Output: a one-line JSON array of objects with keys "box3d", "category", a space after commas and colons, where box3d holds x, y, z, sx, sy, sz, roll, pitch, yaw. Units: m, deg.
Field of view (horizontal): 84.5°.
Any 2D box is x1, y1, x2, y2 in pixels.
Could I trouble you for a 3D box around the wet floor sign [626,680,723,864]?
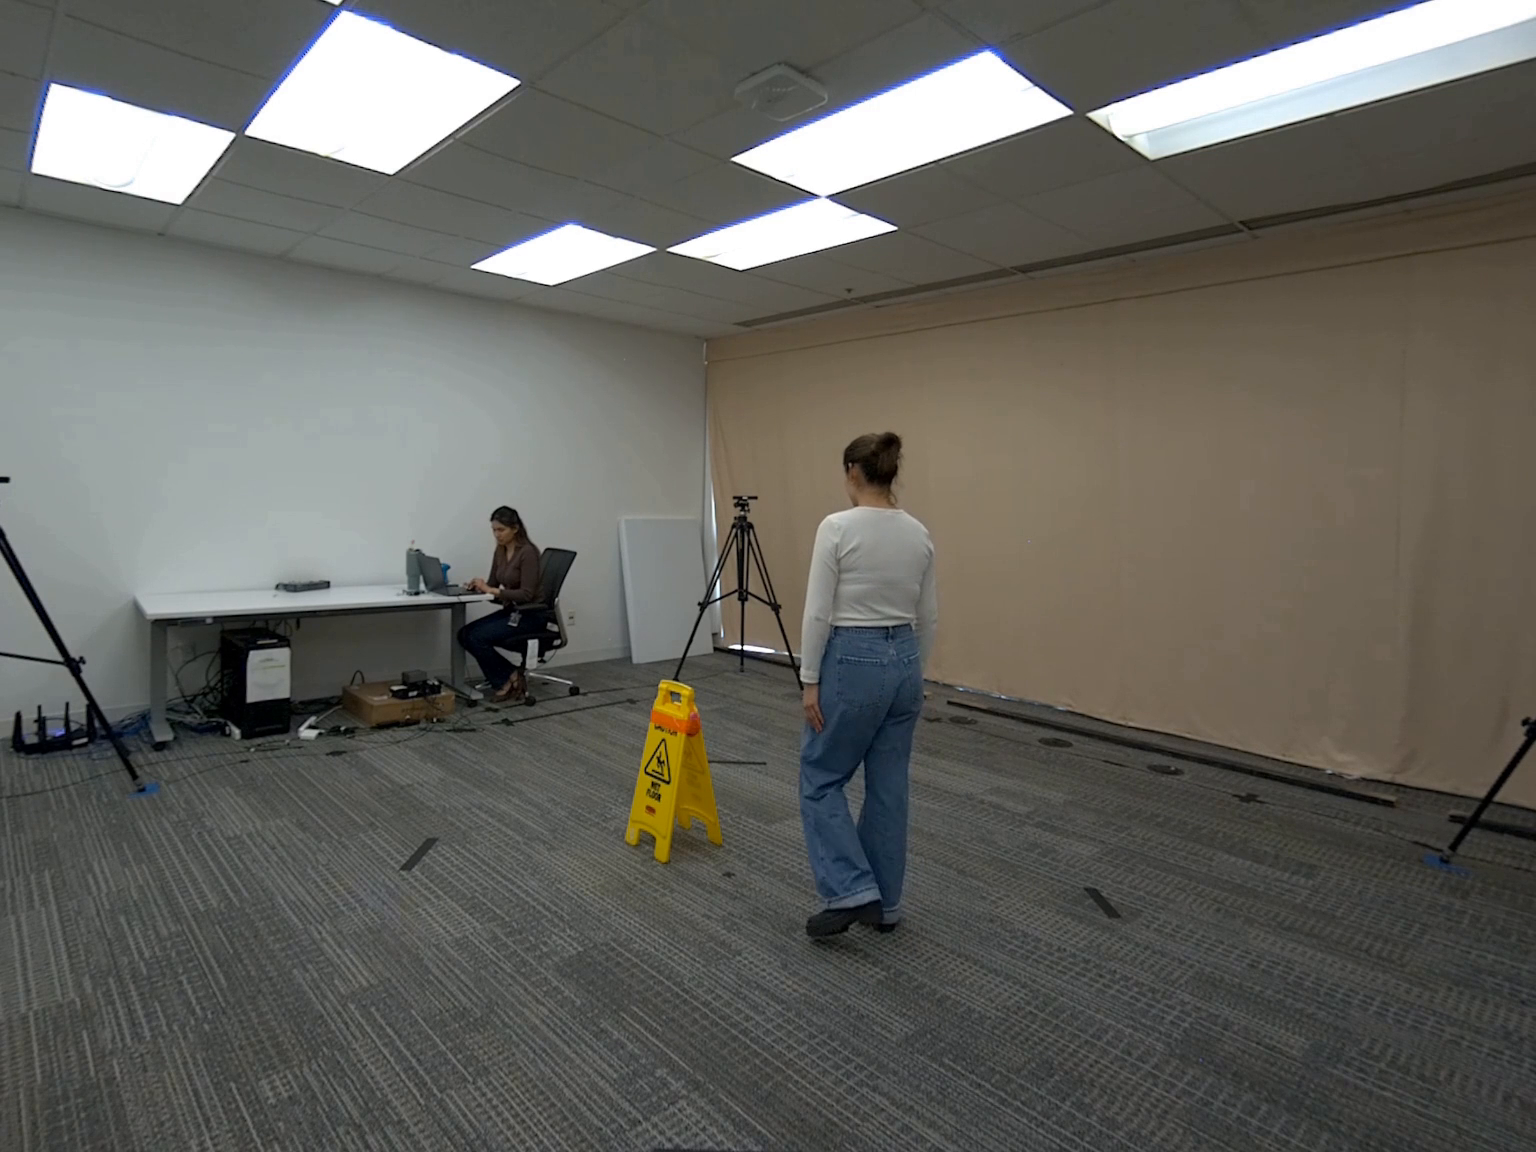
[{"box3d": [-0.378, 0.750, 3.368, 0.283, 0.644, 0.289, -1, 4, -43], "category": "wet floor sign"}]
